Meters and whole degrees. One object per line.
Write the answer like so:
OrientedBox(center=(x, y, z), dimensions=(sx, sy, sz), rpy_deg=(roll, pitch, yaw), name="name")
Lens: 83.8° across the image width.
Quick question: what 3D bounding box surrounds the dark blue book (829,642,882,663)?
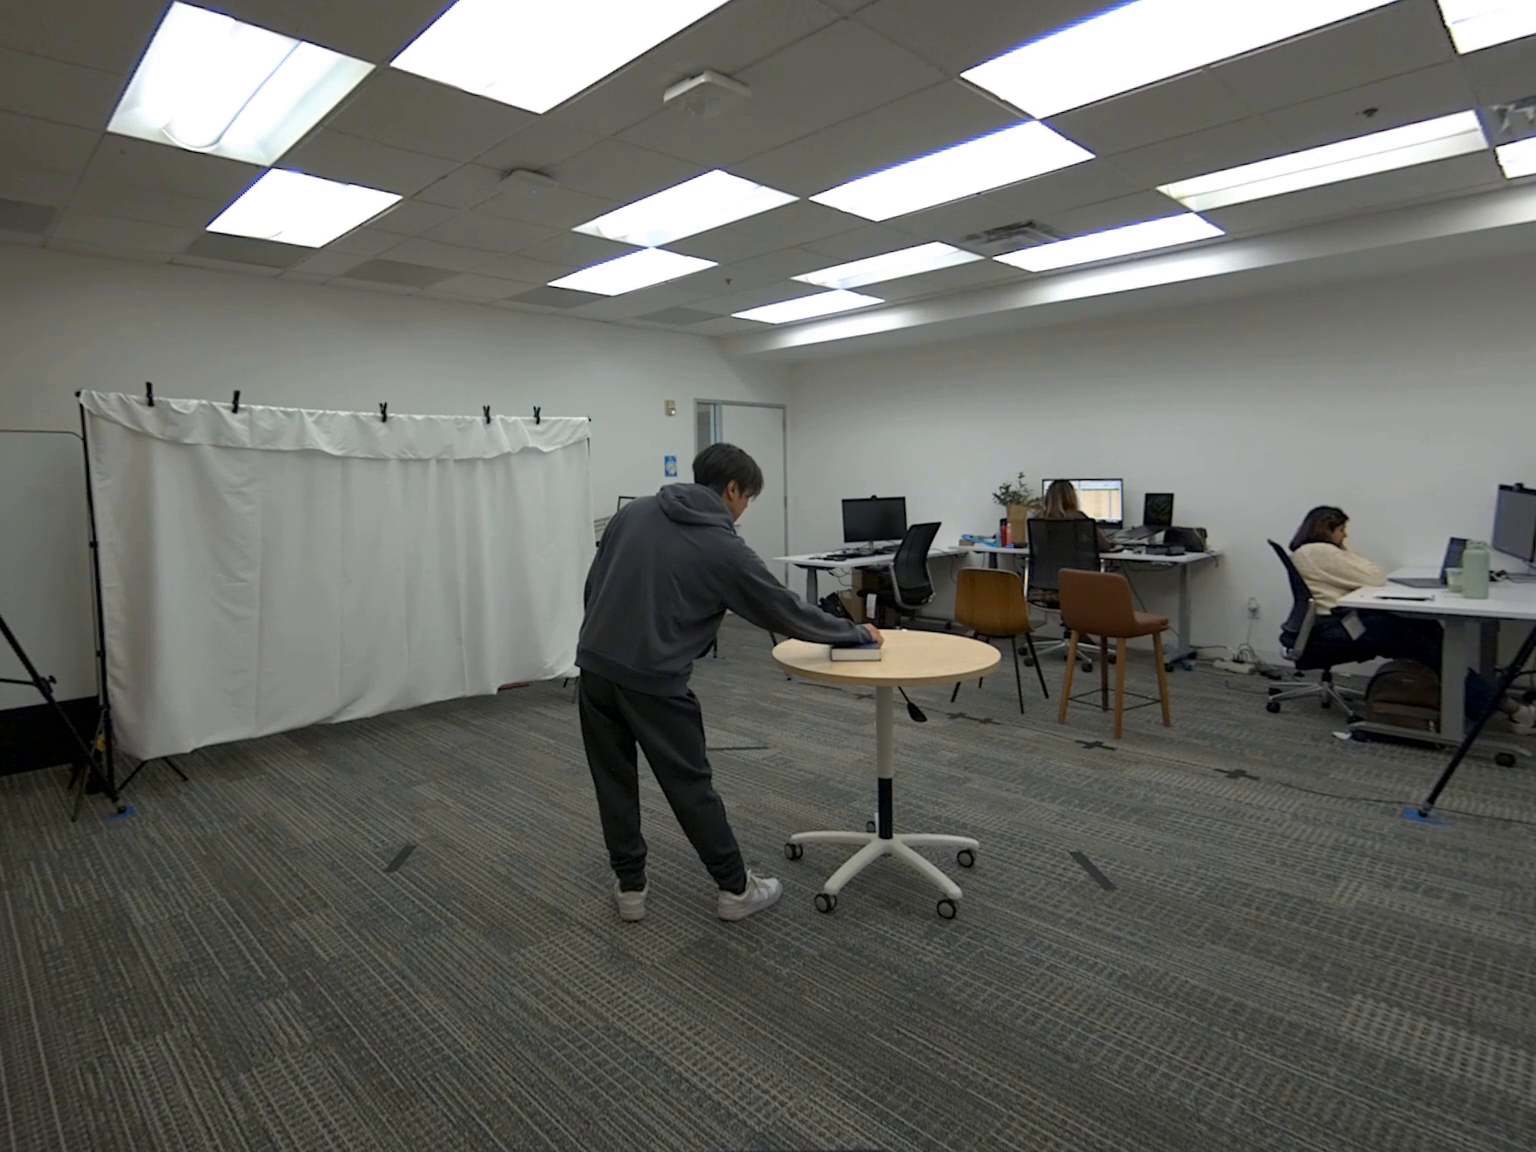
OrientedBox(center=(0.295, 0.245, 2.907), dimensions=(0.164, 0.045, 0.246), rpy_deg=(-3, 7, 2), name="dark blue book")
